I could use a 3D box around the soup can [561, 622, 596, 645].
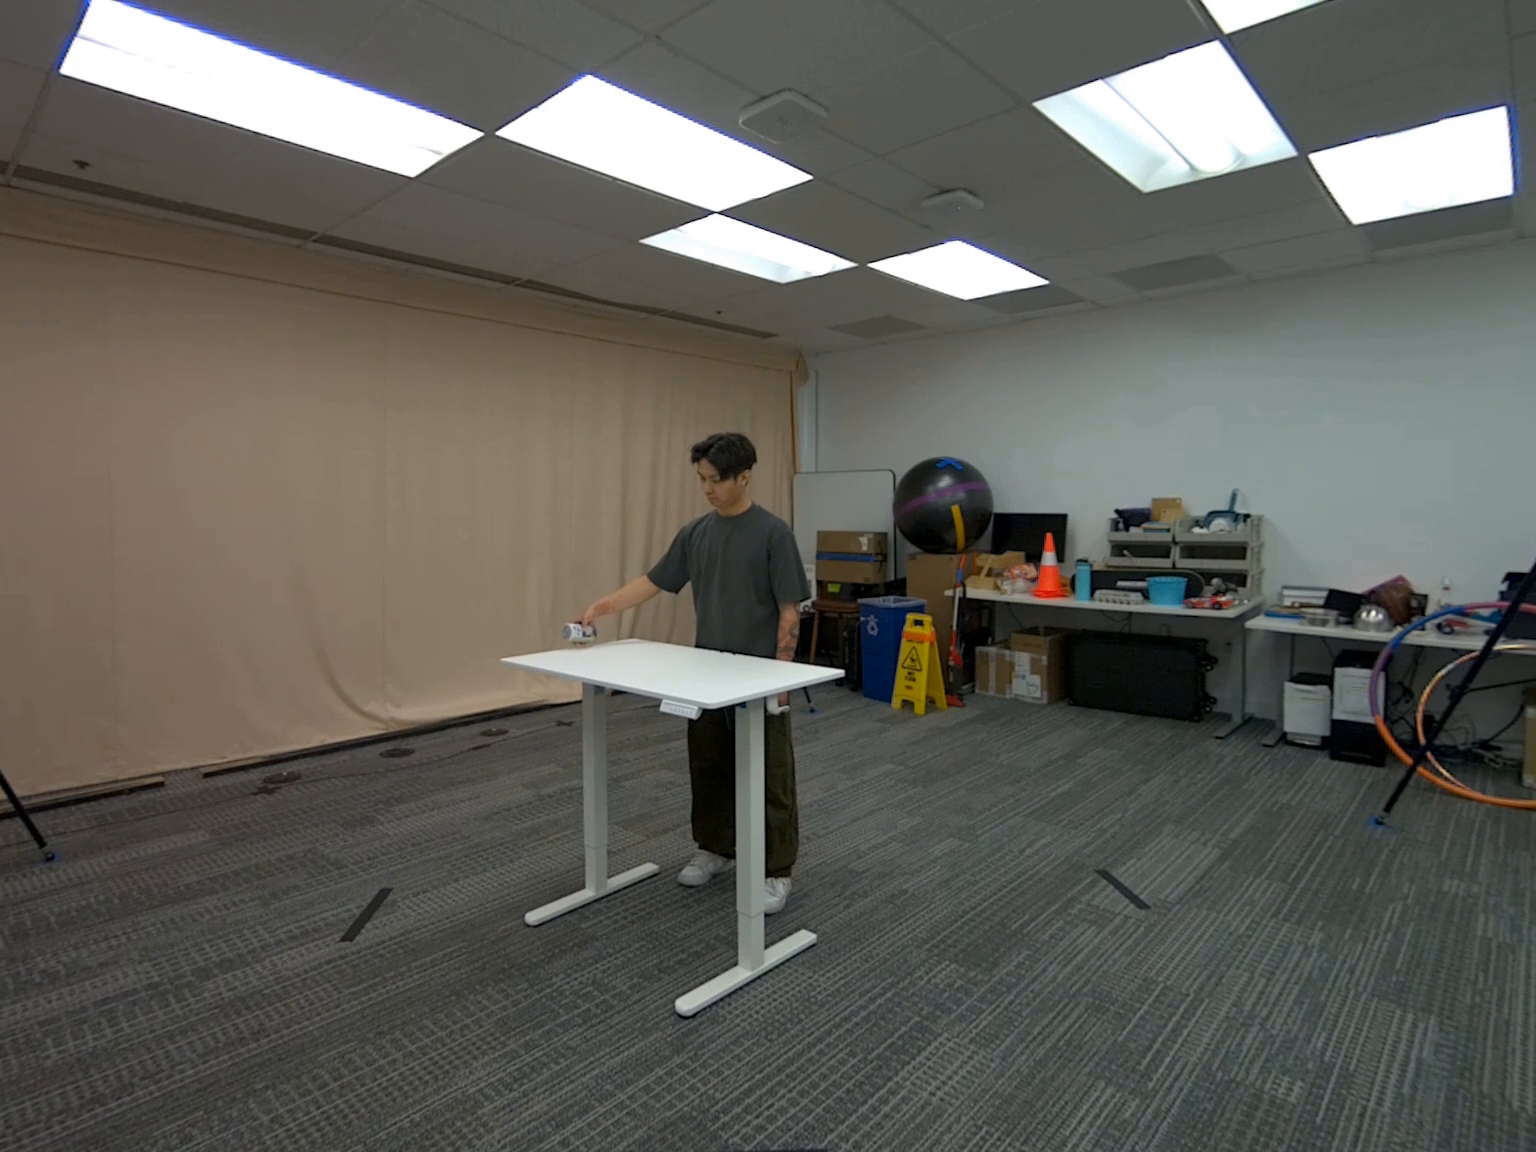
[{"bbox_3d":[-0.685,0.207,3.071,0.117,0.067,0.069,4,0,-41],"label":"soup can"}]
